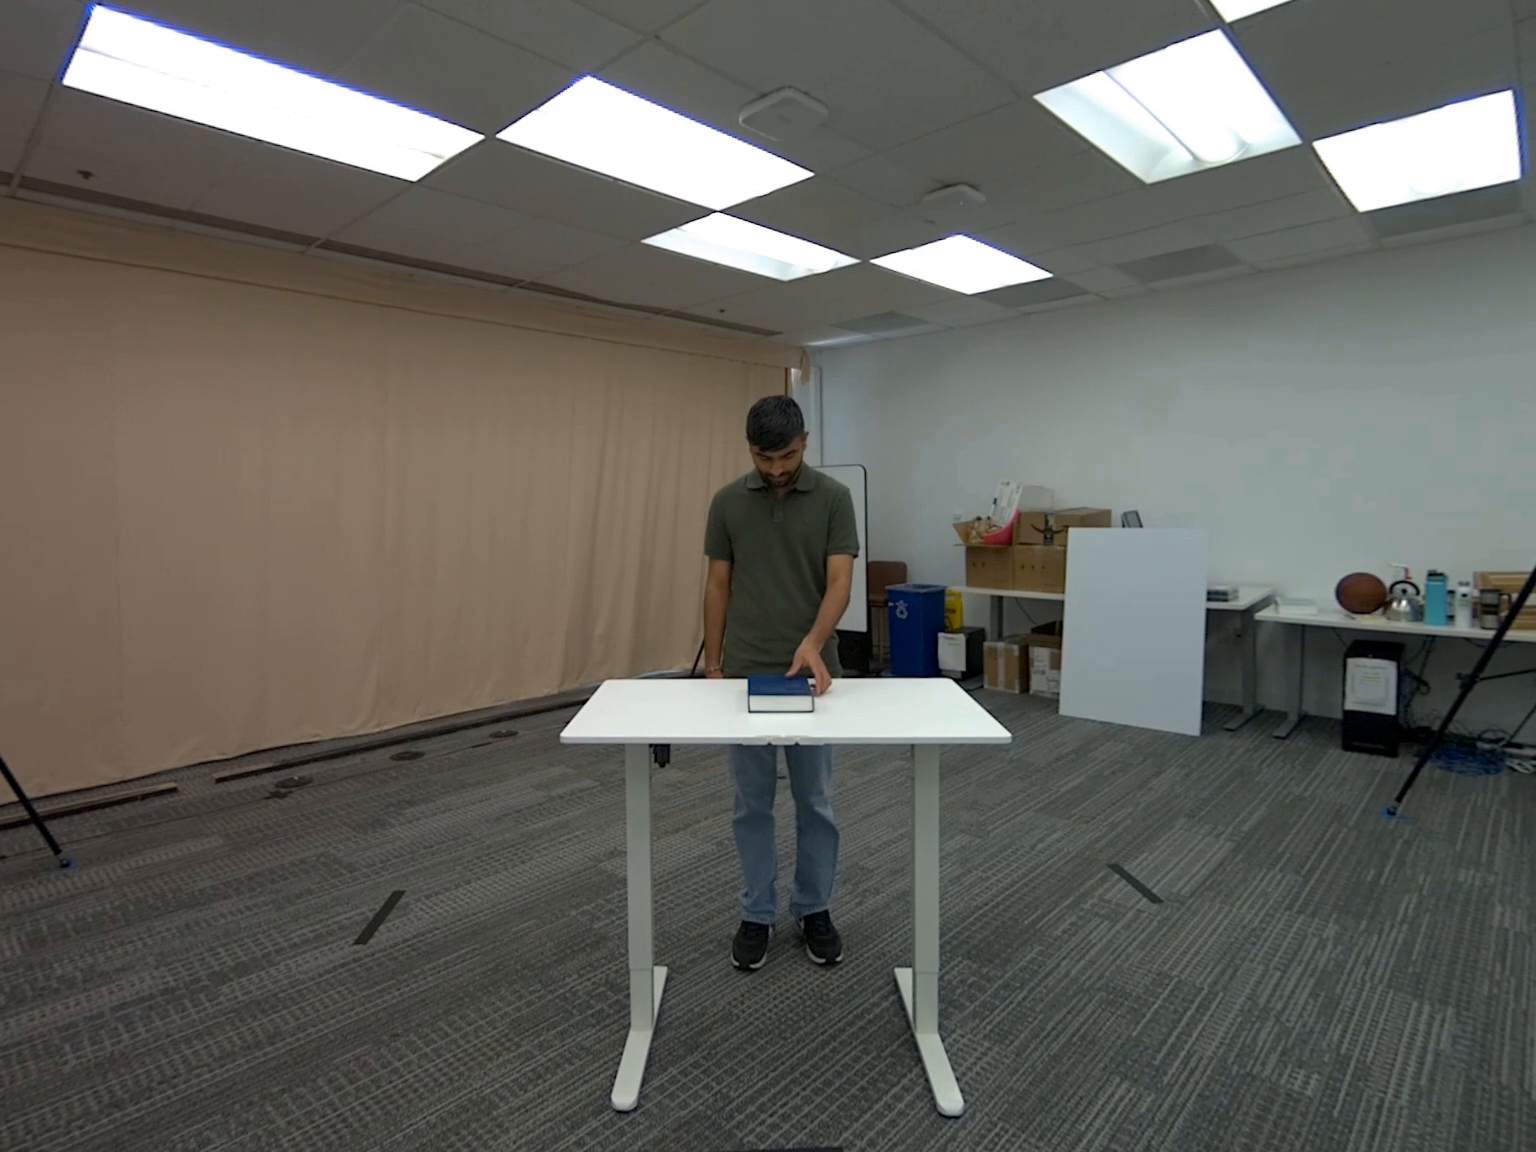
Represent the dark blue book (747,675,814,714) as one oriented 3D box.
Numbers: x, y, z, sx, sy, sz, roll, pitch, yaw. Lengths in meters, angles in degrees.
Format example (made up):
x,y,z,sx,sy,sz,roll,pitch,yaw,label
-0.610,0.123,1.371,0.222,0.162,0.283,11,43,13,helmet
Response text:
x,y,z,sx,sy,sz,roll,pitch,yaw,label
0.033,0.303,2.189,0.163,0.045,0.246,-1,6,-1,dark blue book
